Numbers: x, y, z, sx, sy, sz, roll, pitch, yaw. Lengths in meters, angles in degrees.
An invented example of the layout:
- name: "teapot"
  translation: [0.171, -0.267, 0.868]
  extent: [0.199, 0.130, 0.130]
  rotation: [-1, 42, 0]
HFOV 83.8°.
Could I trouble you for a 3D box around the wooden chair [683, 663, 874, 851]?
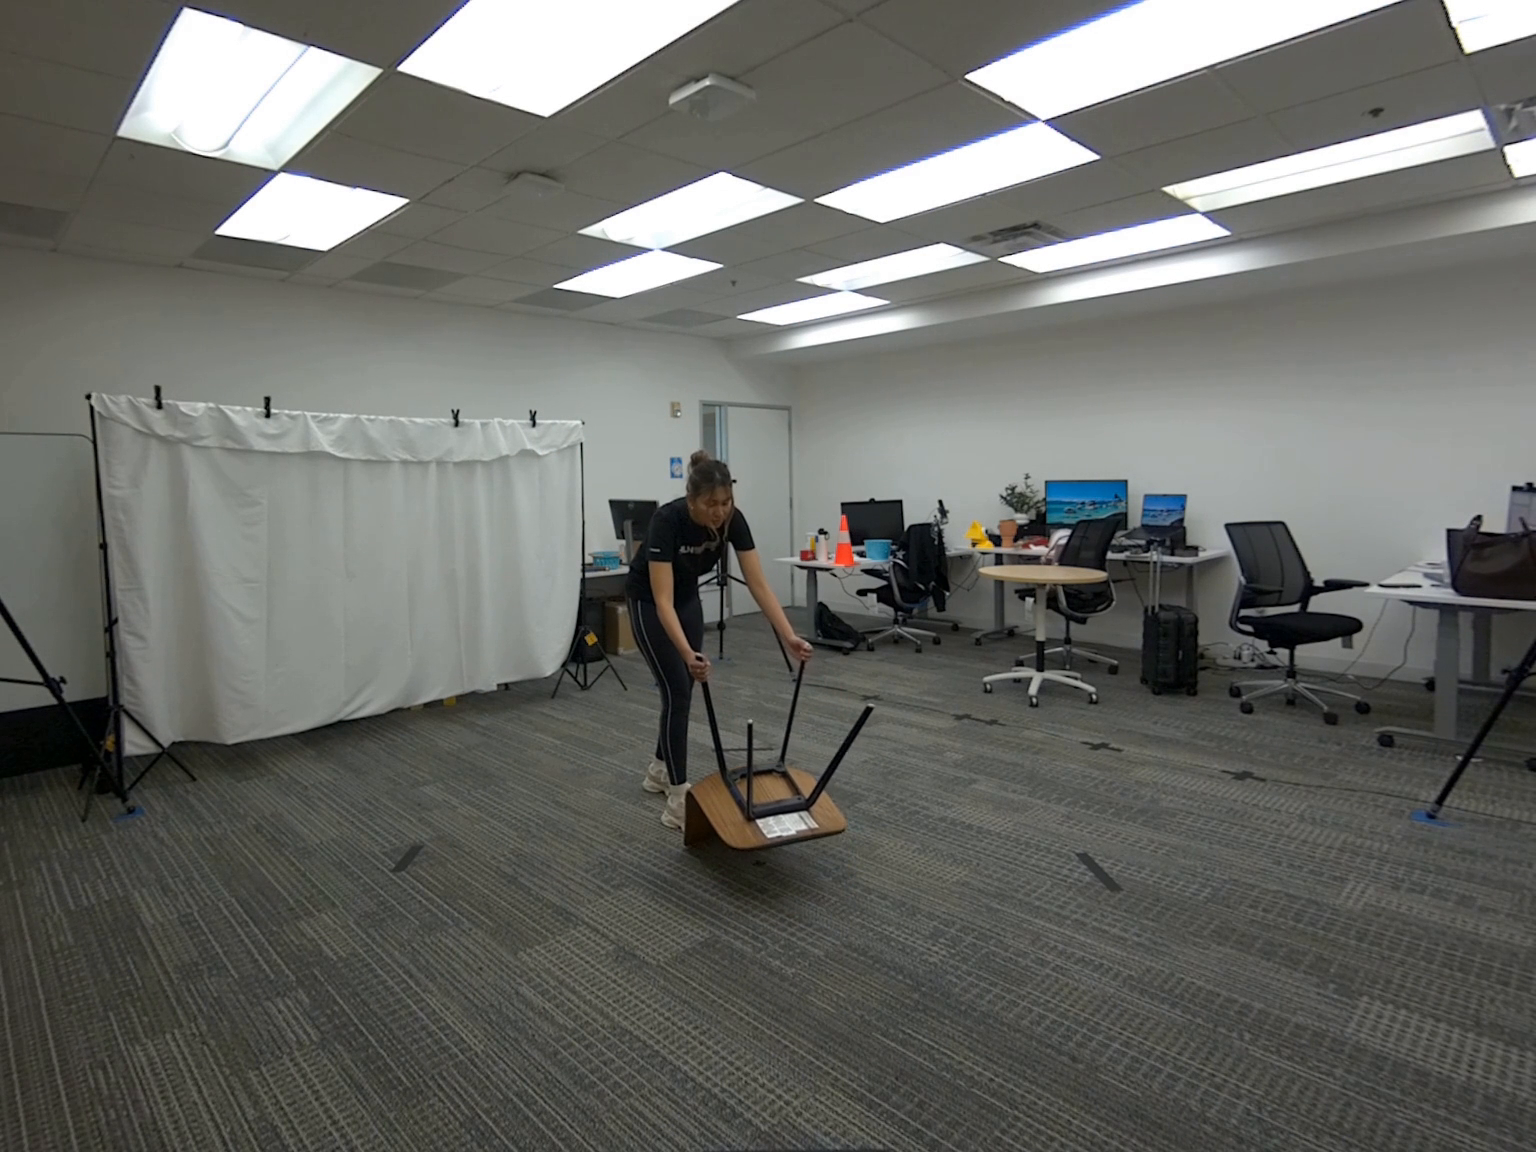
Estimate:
- name: "wooden chair"
  translation: [-0.006, 0.749, 2.991]
  extent: [0.468, 0.864, 0.543]
  rotation: [-2, 25, -26]
